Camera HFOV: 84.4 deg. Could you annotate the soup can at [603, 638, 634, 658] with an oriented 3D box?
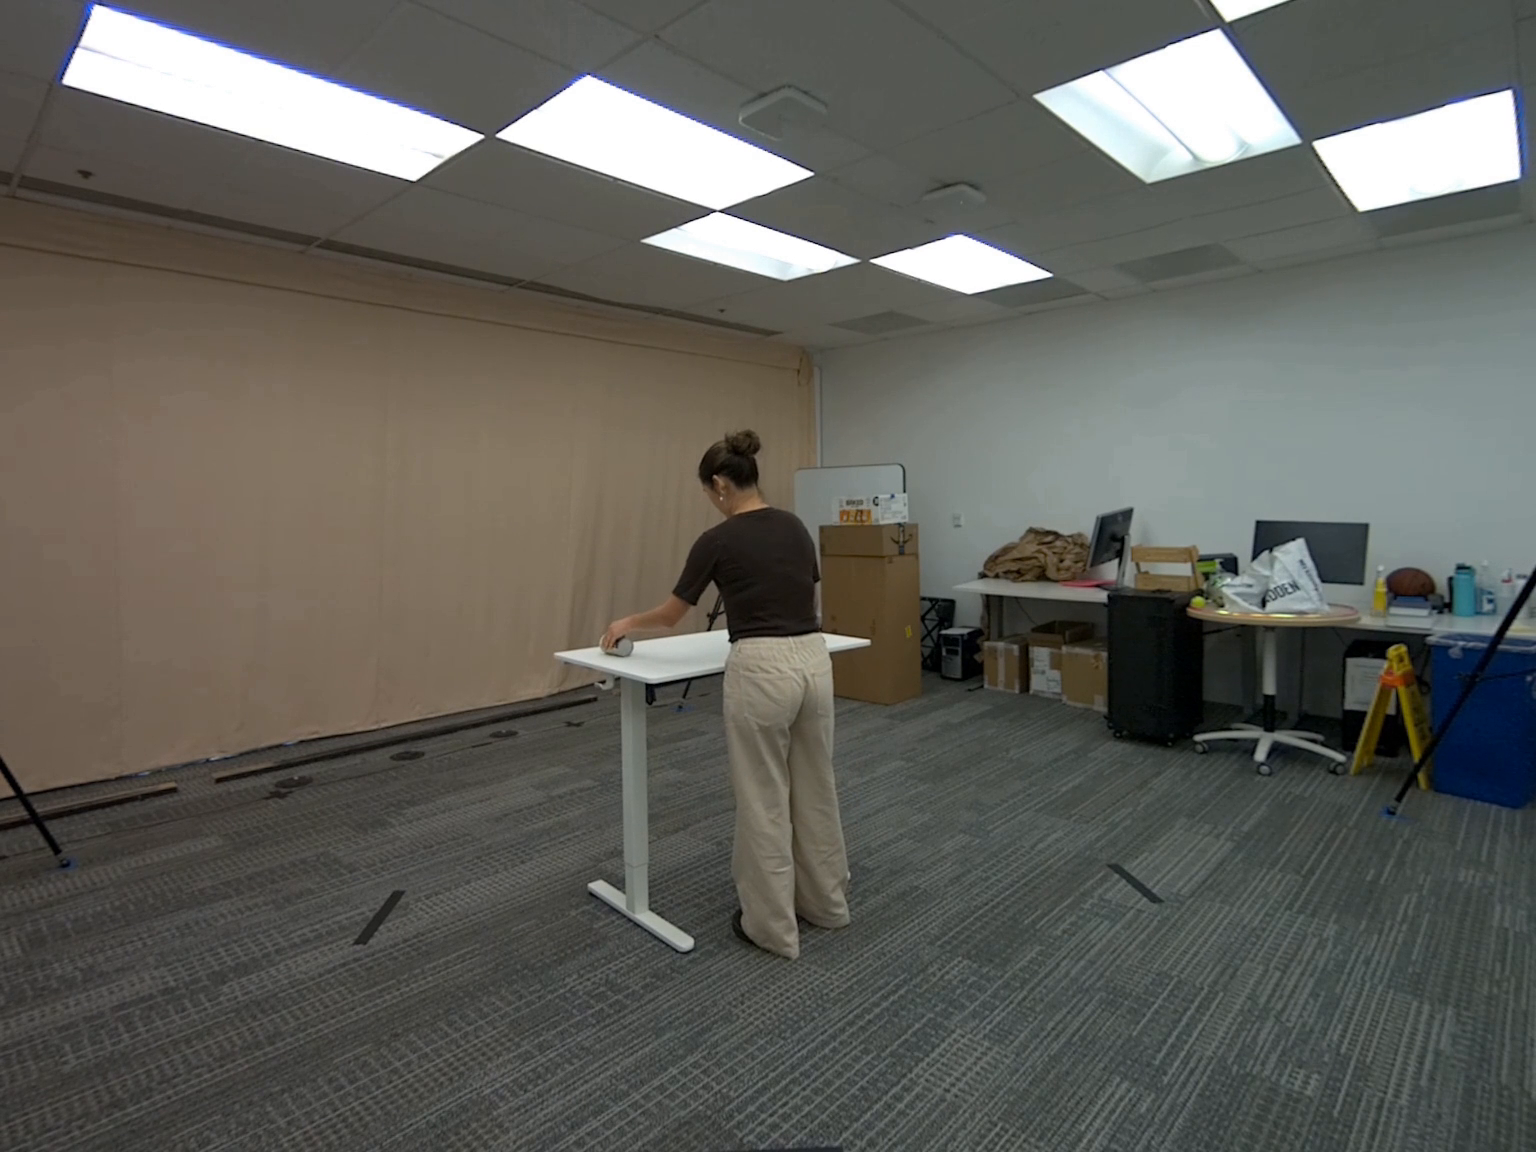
[{"bbox_3d":[-0.514,0.241,2.896,0.065,0.067,0.125,-4,7,-39],"label":"soup can"}]
